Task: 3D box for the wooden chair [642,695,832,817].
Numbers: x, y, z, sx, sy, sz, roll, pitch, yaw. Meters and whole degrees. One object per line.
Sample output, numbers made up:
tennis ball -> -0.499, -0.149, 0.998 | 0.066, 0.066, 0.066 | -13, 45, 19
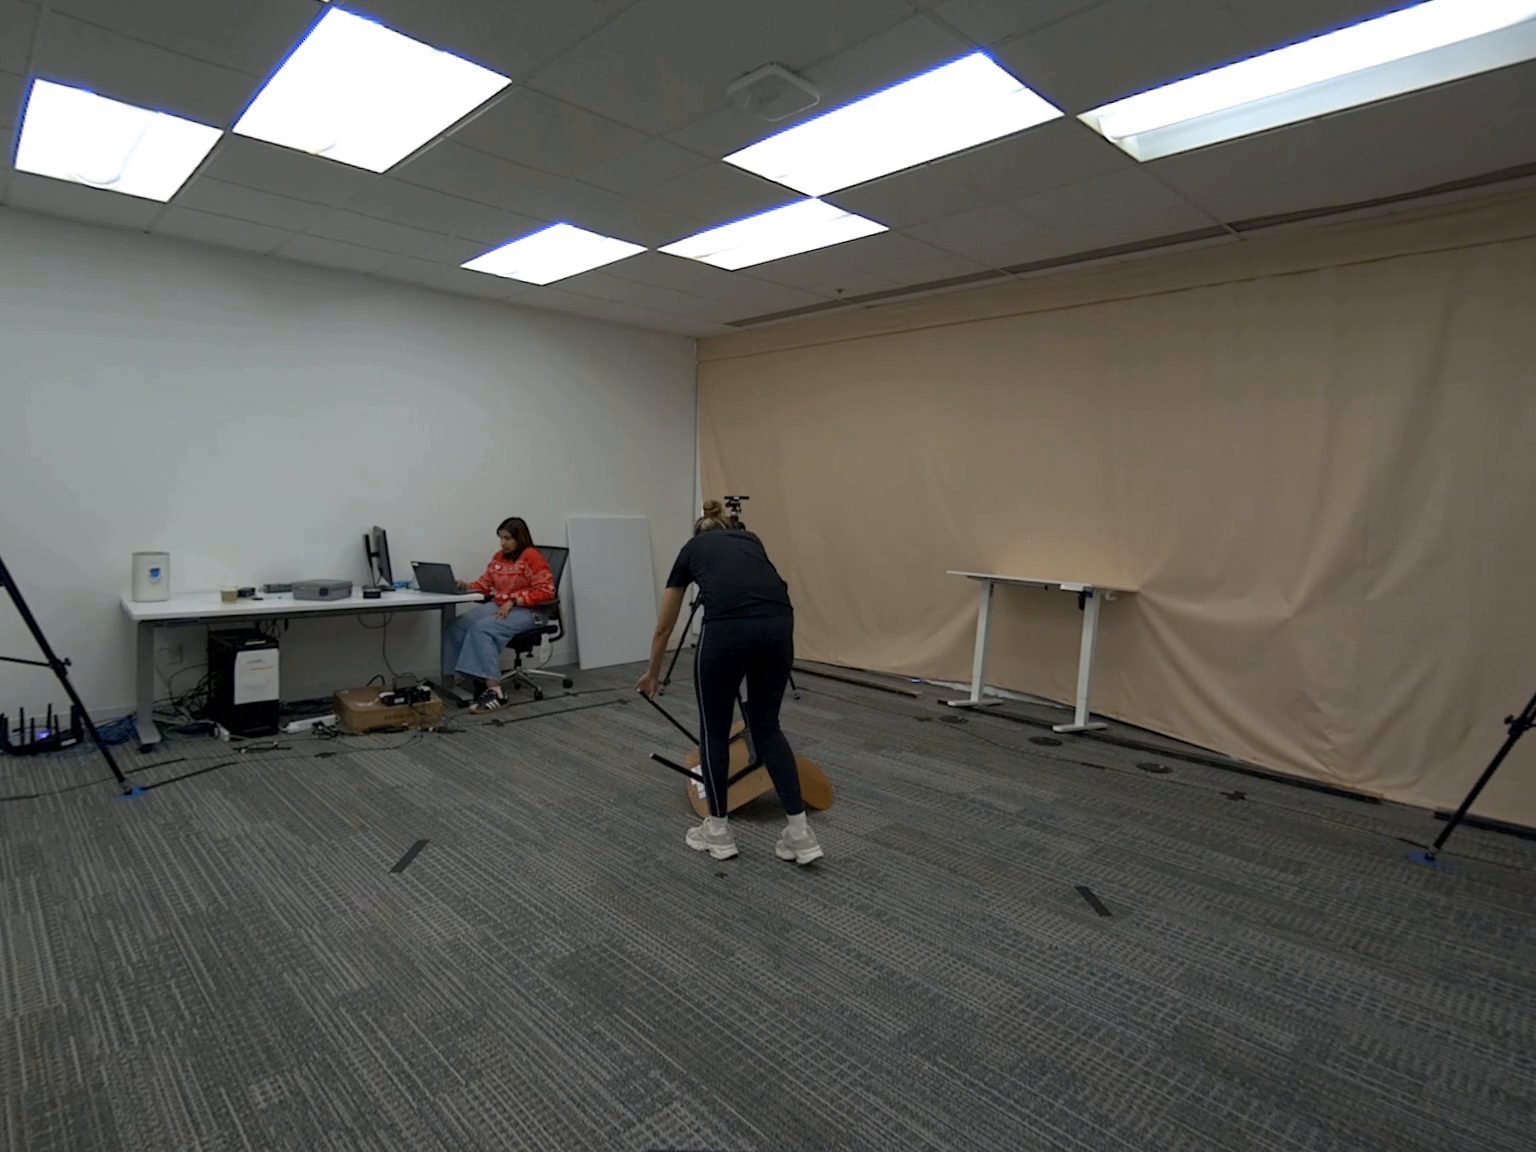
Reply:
wooden chair -> -0.161, 0.816, 3.790 | 0.523, 0.853, 0.491 | -34, 30, 4
